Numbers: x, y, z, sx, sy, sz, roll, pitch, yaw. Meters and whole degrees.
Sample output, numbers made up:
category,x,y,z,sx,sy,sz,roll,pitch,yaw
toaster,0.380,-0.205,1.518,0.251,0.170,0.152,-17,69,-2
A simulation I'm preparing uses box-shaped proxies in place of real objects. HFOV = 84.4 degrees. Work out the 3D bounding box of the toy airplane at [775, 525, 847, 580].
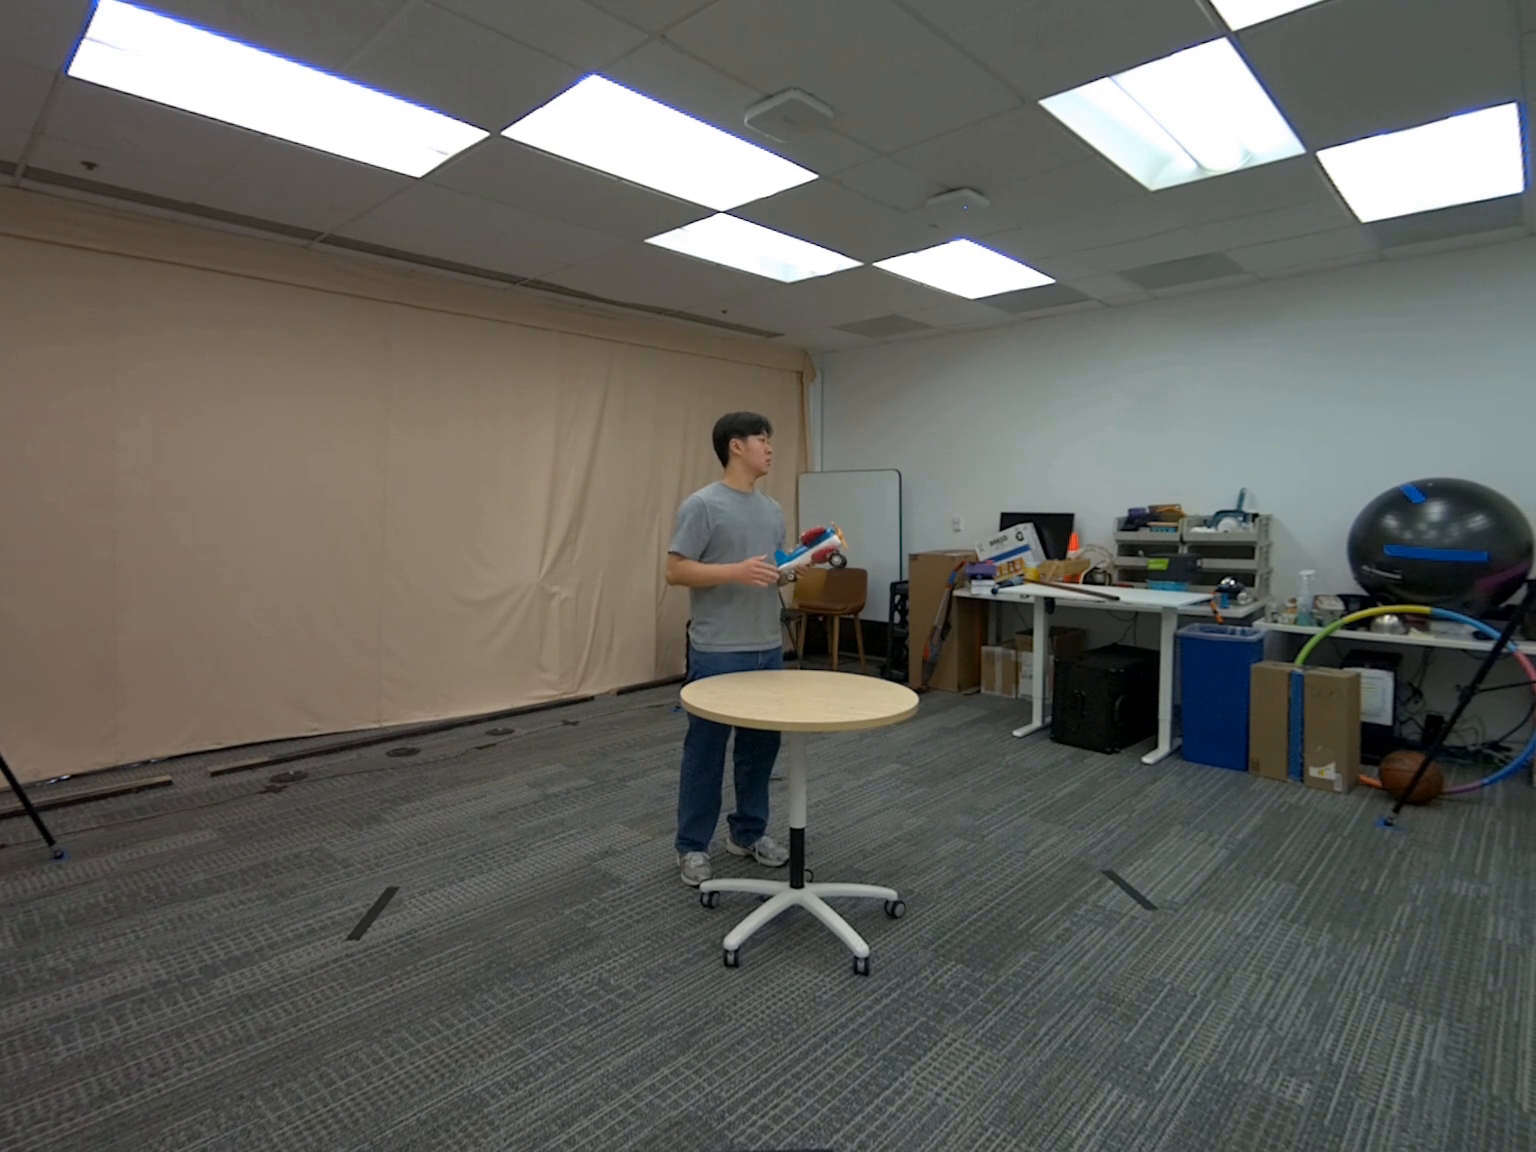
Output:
category,x,y,z,sx,sy,sz,roll,pitch,yaw
toy airplane,0.153,-0.069,3.013,0.256,0.157,0.253,-13,-7,-16
